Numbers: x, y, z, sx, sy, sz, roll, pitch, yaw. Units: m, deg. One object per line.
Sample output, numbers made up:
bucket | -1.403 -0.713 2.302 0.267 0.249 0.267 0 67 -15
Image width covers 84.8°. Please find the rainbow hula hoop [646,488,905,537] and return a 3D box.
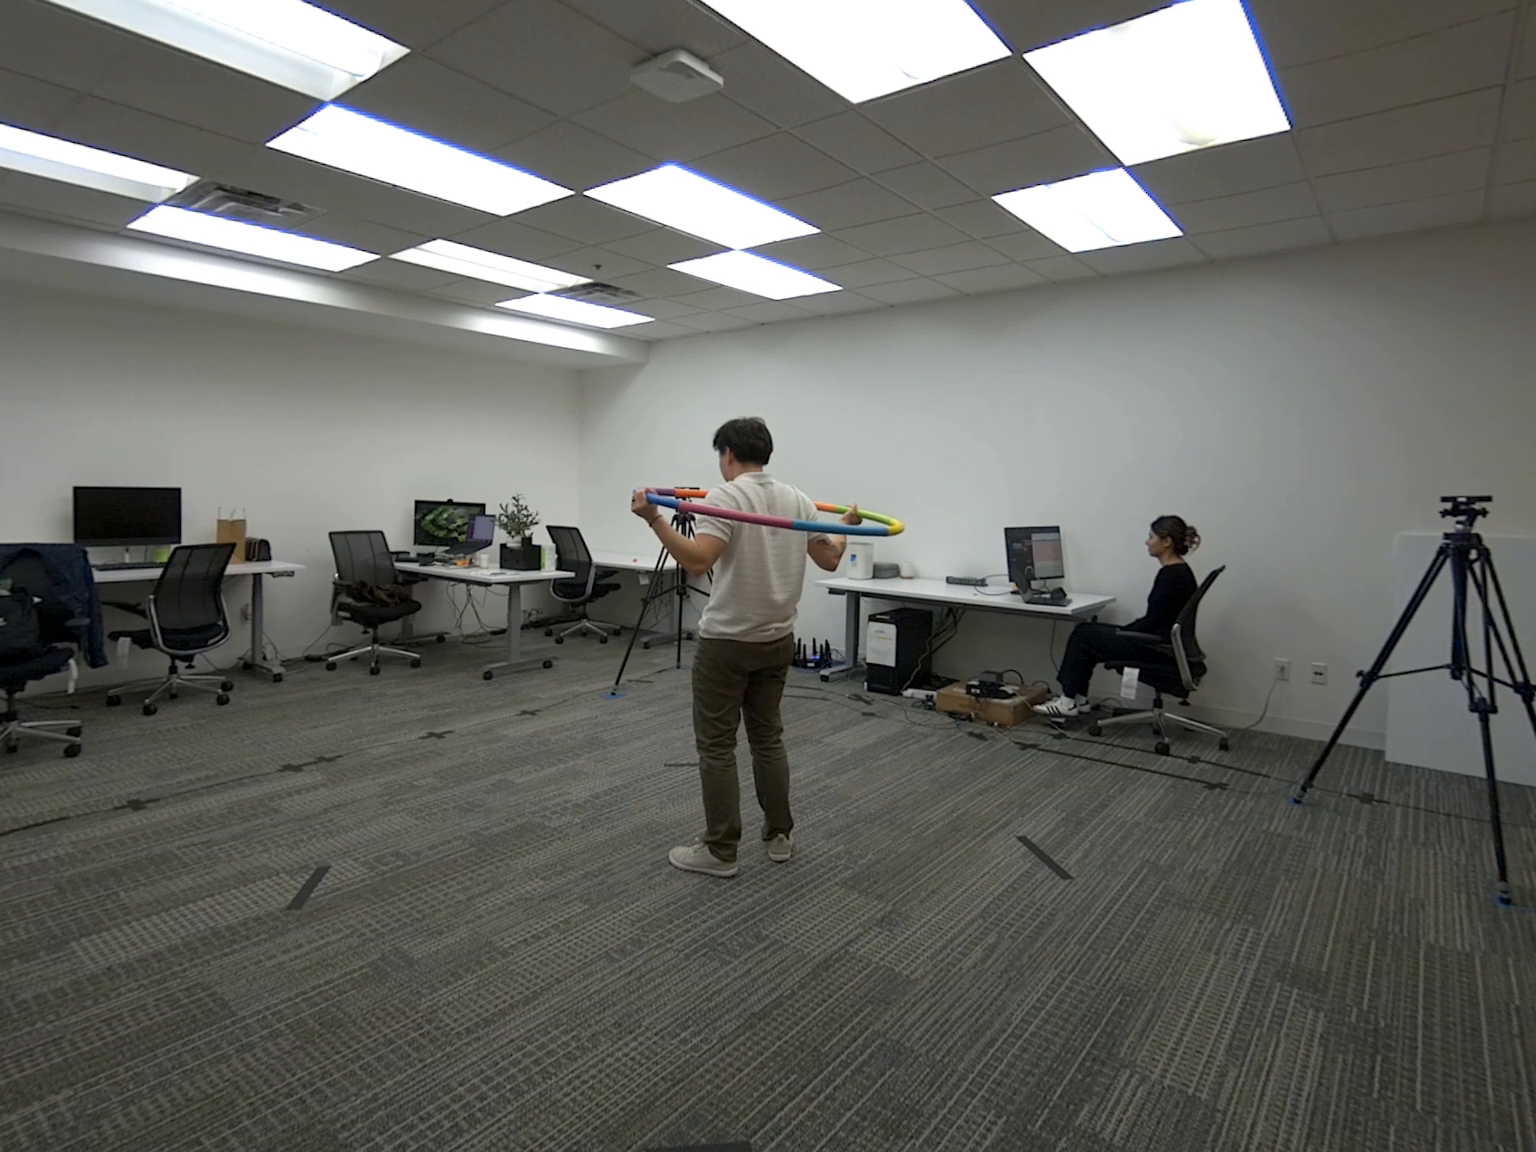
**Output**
rainbow hula hoop | -0.008 -0.244 3.080 0.977 0.035 0.988 7 9 -3
